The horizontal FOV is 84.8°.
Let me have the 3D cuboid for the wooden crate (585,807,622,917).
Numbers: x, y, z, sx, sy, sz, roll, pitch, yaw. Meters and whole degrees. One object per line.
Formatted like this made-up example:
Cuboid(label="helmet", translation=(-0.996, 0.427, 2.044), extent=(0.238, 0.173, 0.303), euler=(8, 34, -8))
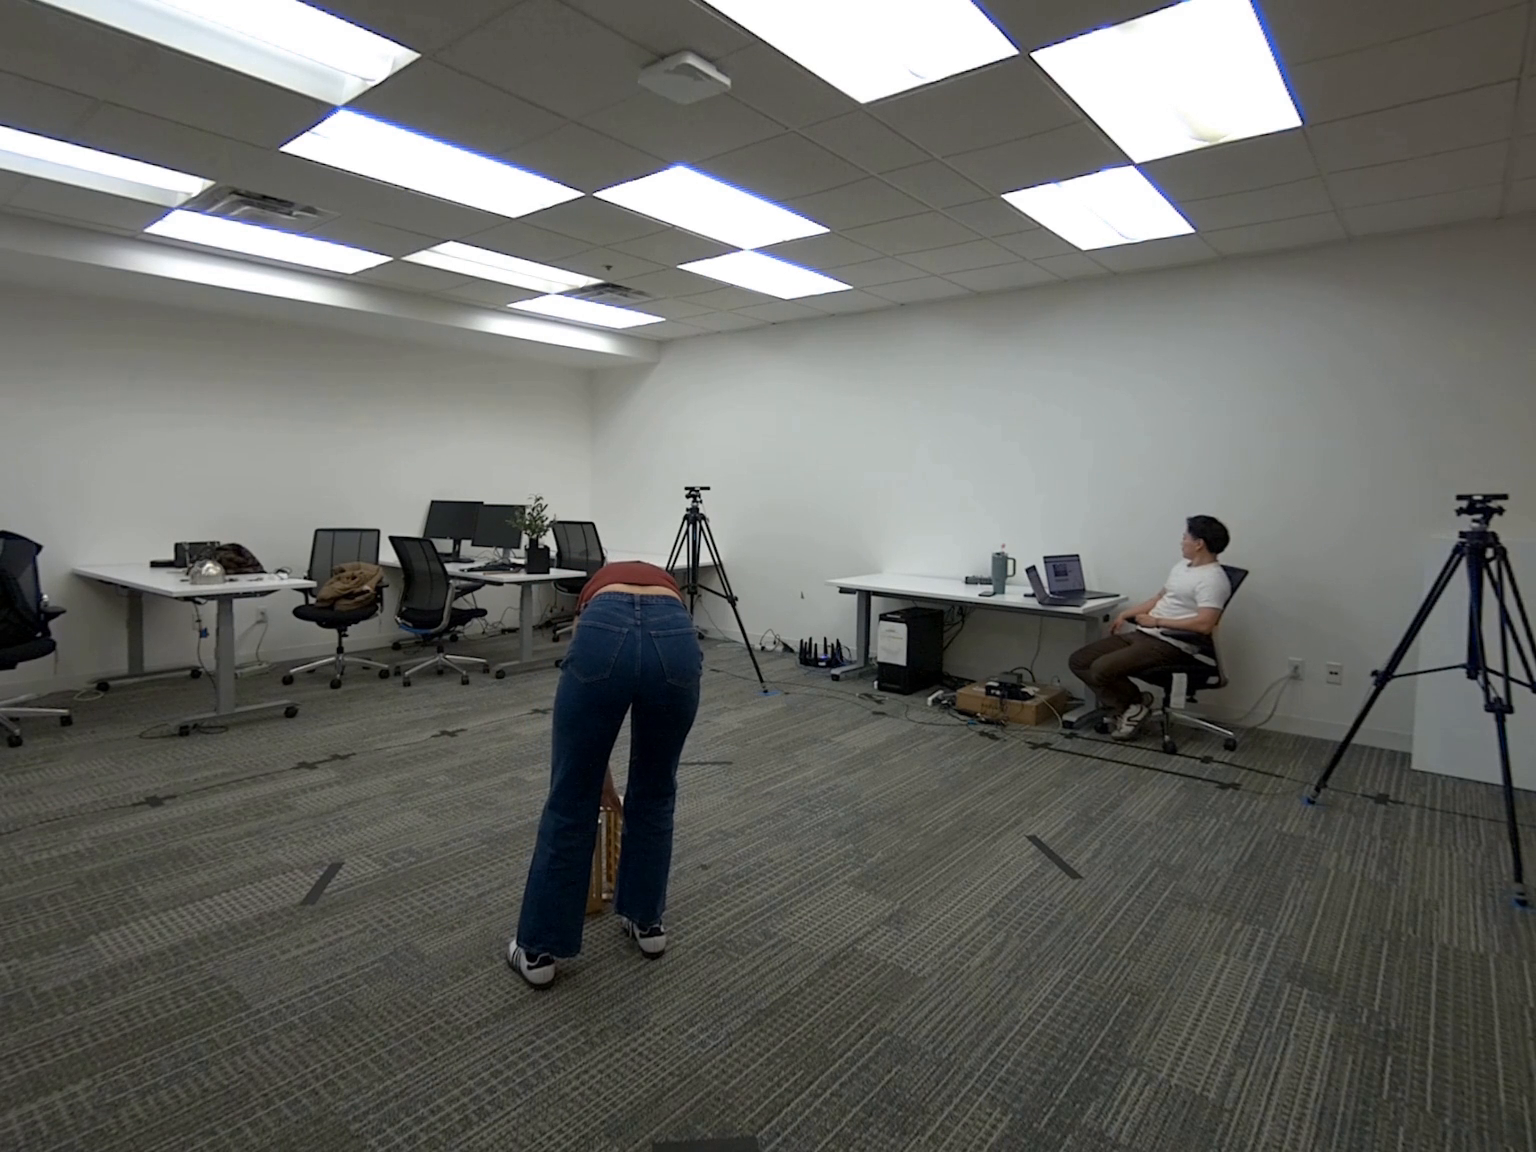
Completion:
Cuboid(label="wooden crate", translation=(-0.565, 0.914, 2.862), extent=(0.266, 0.322, 0.312), euler=(-4, 9, -32))
